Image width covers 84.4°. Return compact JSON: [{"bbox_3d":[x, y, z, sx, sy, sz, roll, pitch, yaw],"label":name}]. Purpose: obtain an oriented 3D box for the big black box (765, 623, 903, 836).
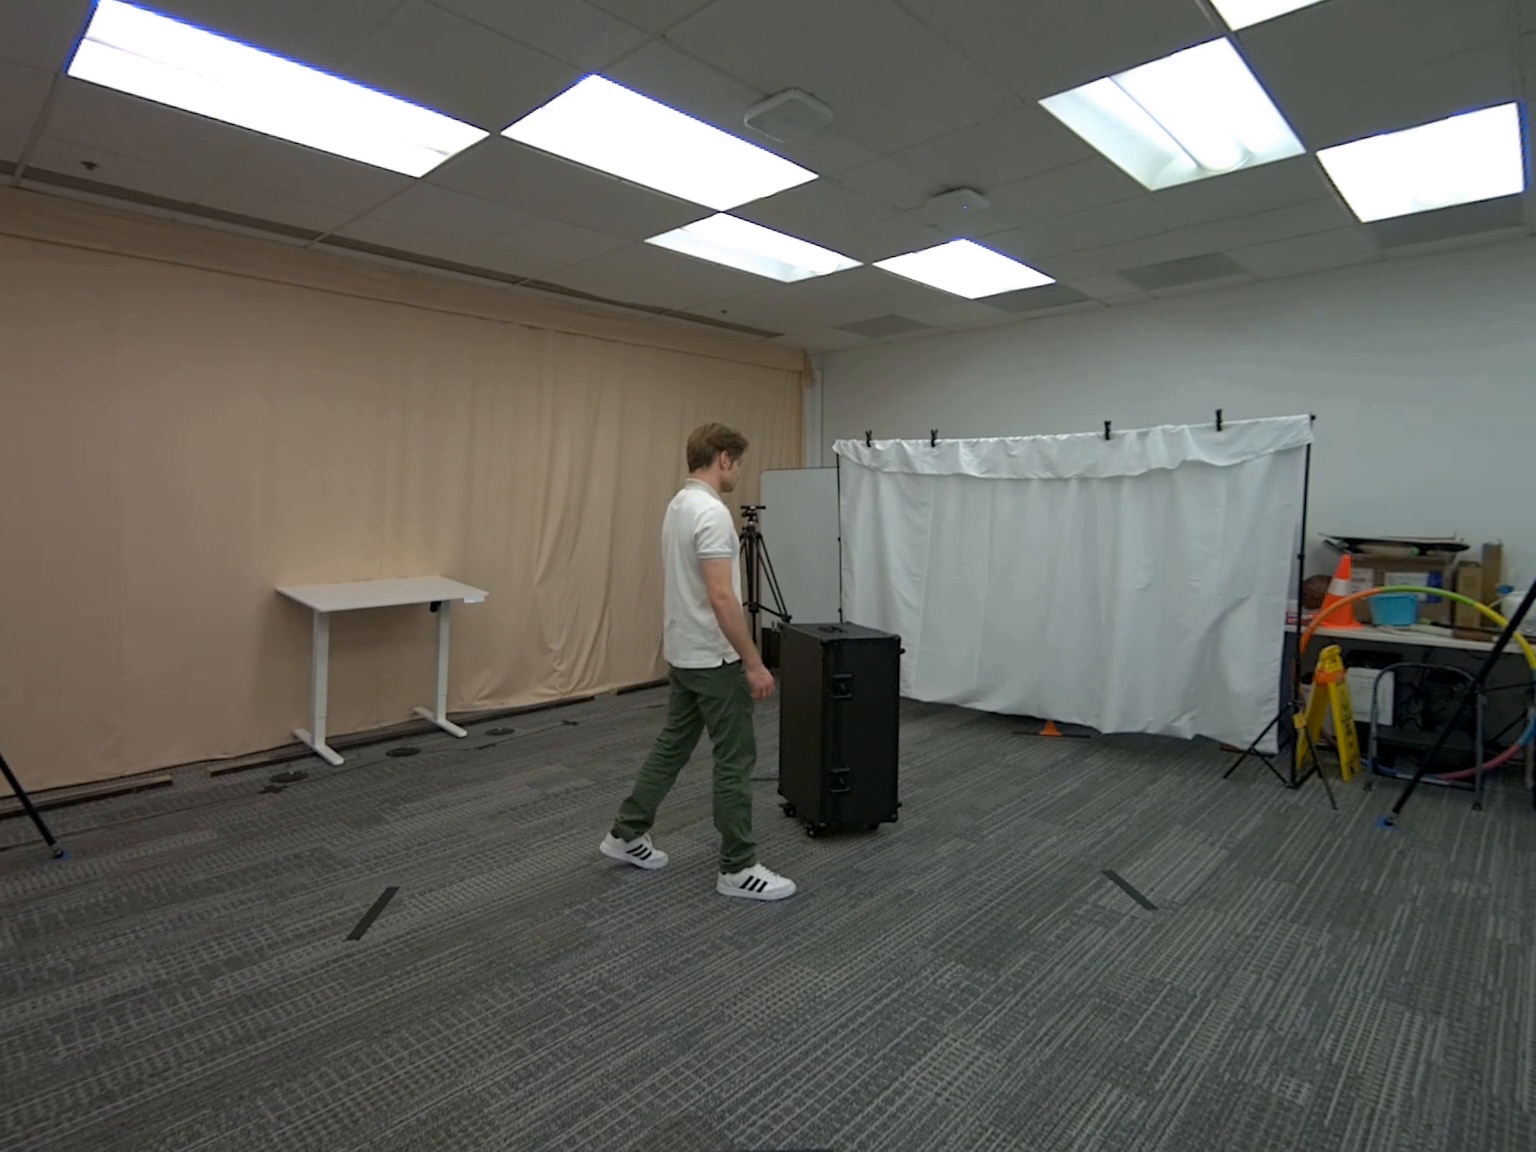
[{"bbox_3d":[0.303,0.663,3.689,0.378,0.867,0.533,0,2,-18],"label":"big black box"}]
